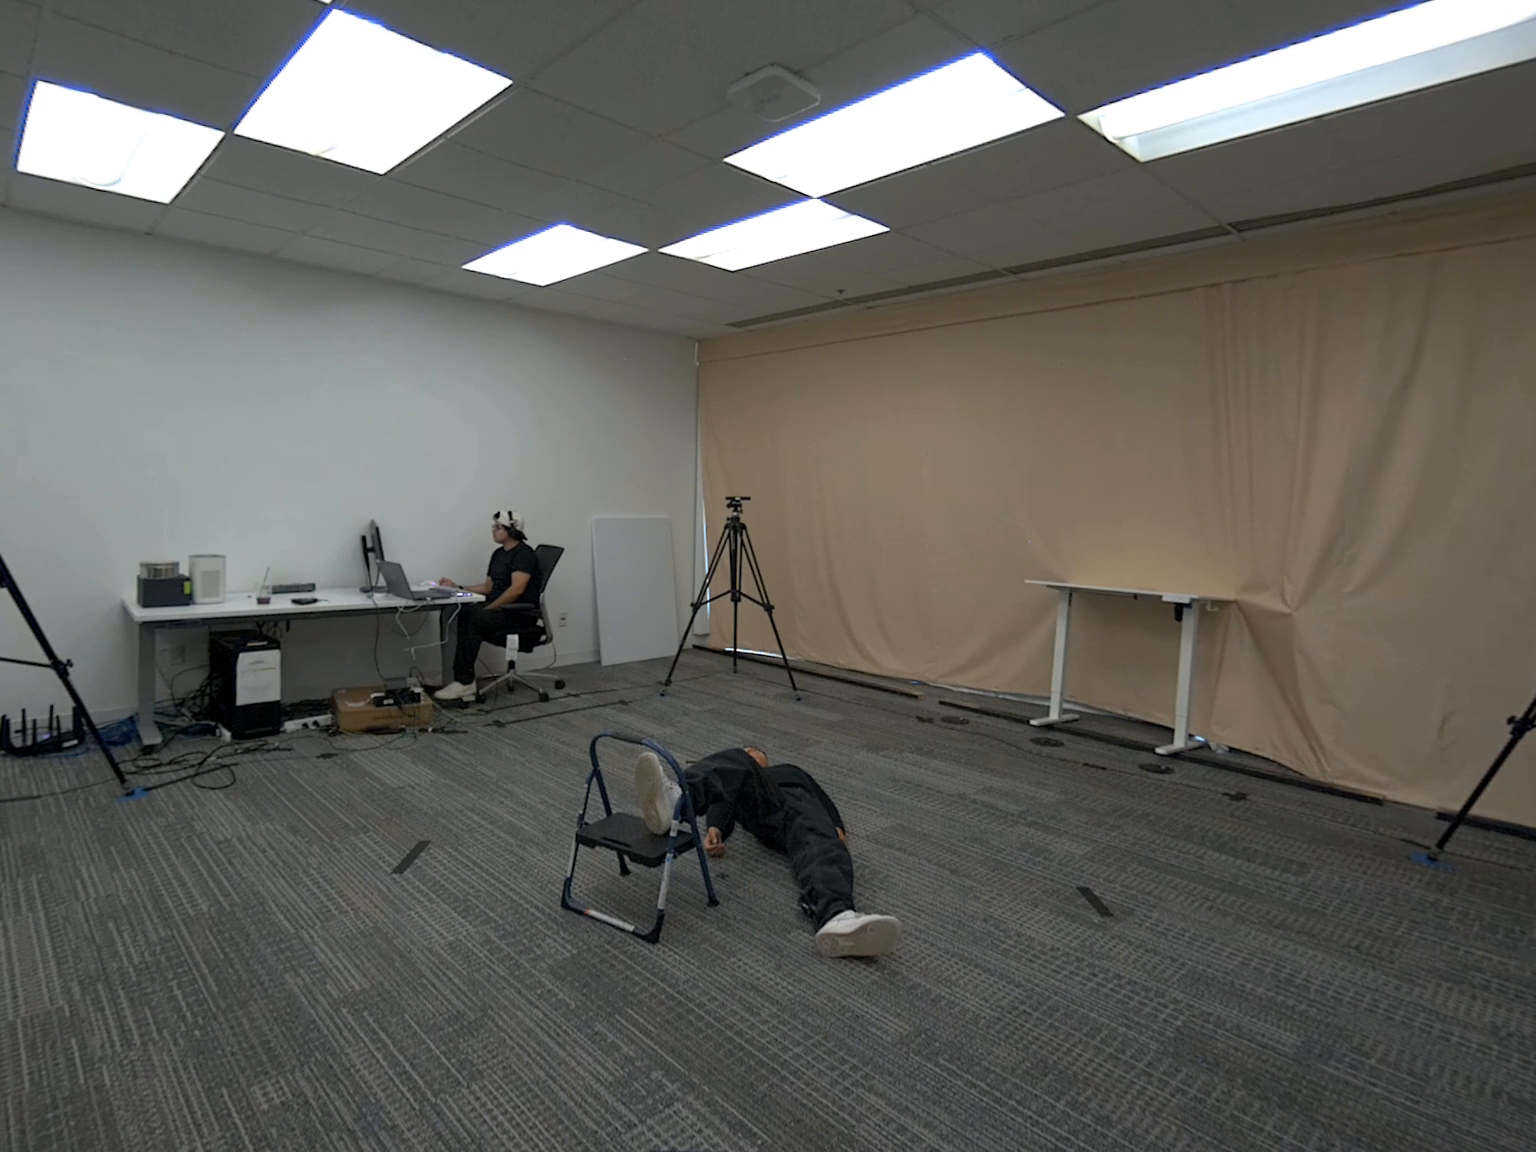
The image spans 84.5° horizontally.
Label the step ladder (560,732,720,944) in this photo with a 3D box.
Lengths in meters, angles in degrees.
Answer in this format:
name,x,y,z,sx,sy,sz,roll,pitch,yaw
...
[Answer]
name,x,y,z,sx,sy,sz,roll,pitch,yaw
step ladder,-0.437,0.823,2.849,0.440,0.605,0.342,4,4,32
